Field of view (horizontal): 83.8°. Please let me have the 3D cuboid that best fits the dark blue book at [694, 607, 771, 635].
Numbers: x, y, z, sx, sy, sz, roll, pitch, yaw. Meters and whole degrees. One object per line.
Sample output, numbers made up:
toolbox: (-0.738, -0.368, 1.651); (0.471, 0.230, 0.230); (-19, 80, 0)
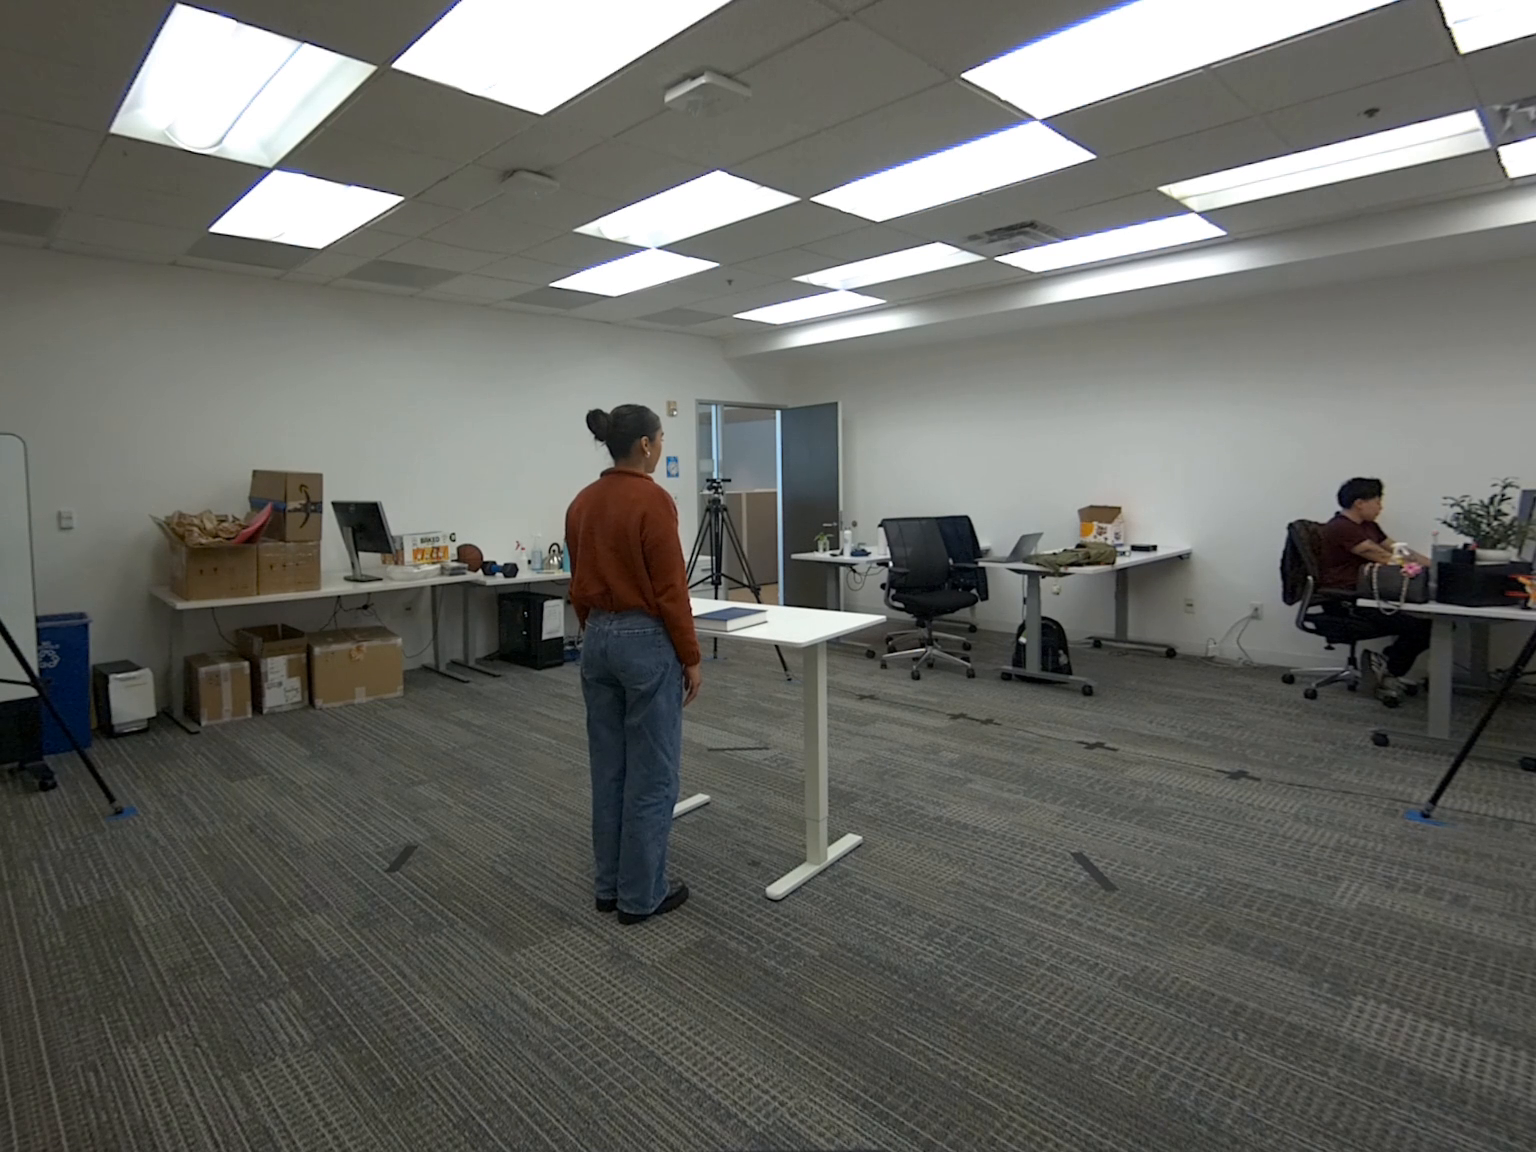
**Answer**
dark blue book: (-0.128, 0.154, 3.021); (0.168, 0.045, 0.239); (3, 8, 33)
